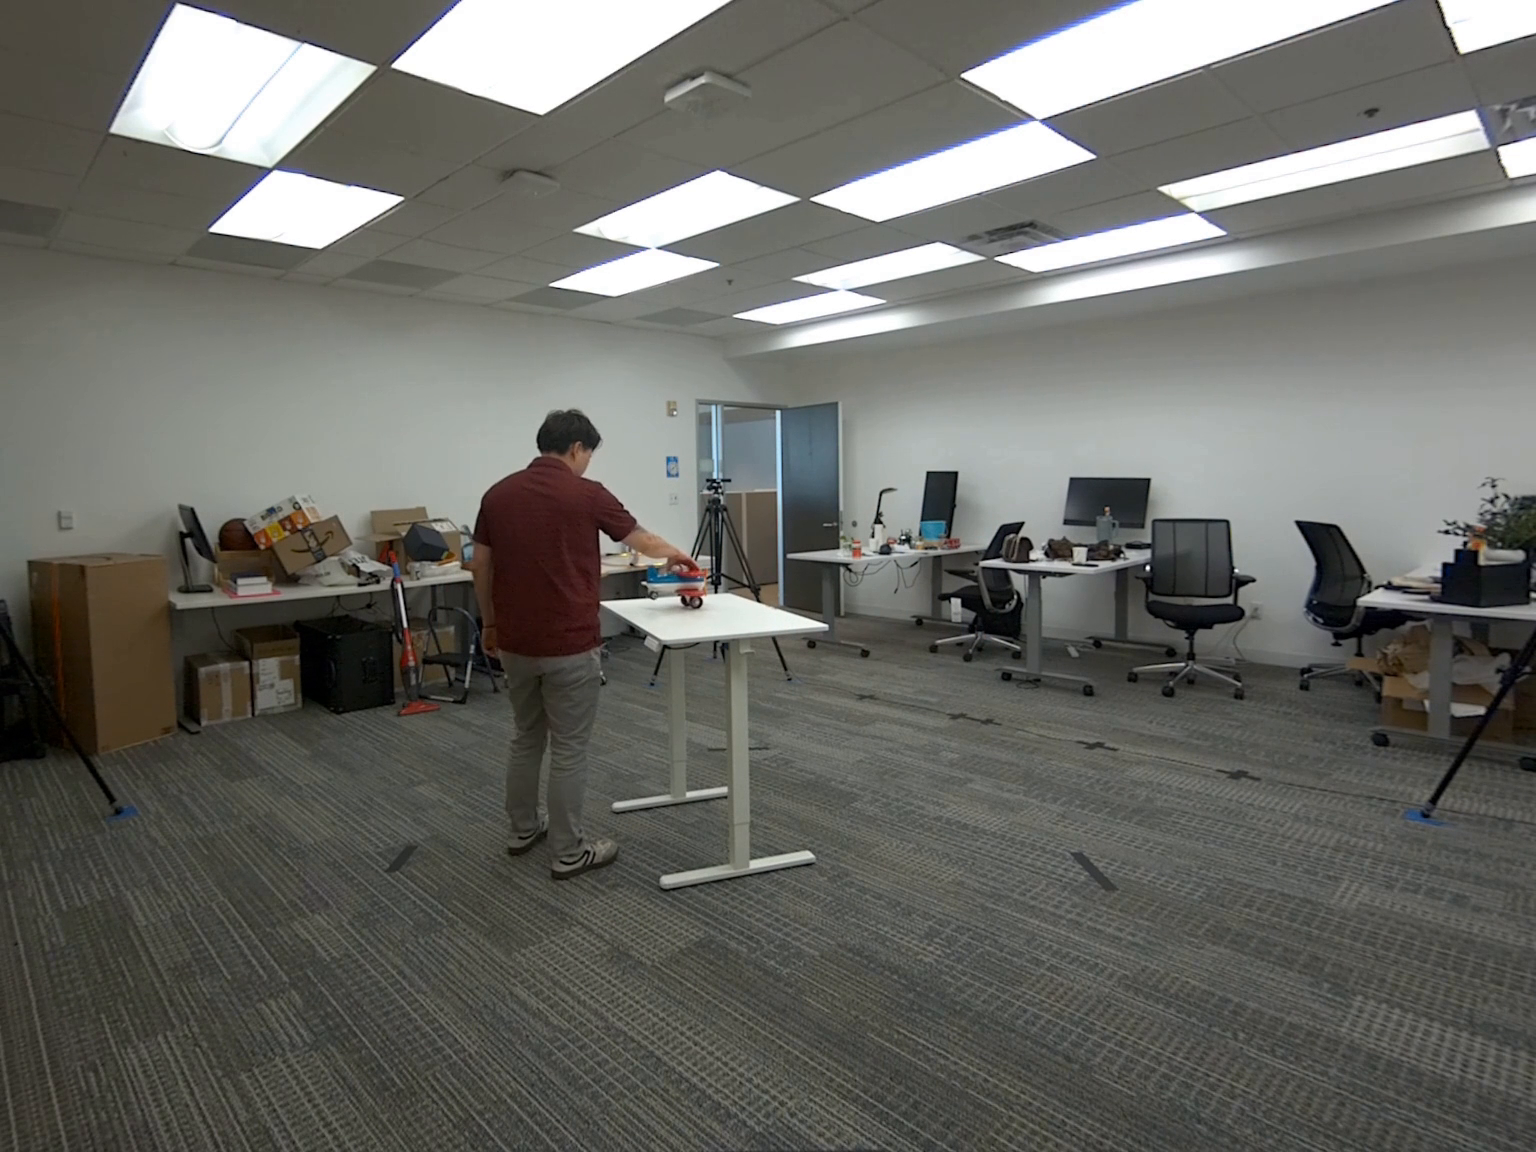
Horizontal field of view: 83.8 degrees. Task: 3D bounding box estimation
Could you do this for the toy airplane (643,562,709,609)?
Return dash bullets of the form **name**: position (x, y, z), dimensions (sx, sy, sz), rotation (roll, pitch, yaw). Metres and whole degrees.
- **toy airplane**: position (-0.362, 0.041, 3.417), dimensions (0.259, 0.157, 0.250), rotation (11, -3, 34)
